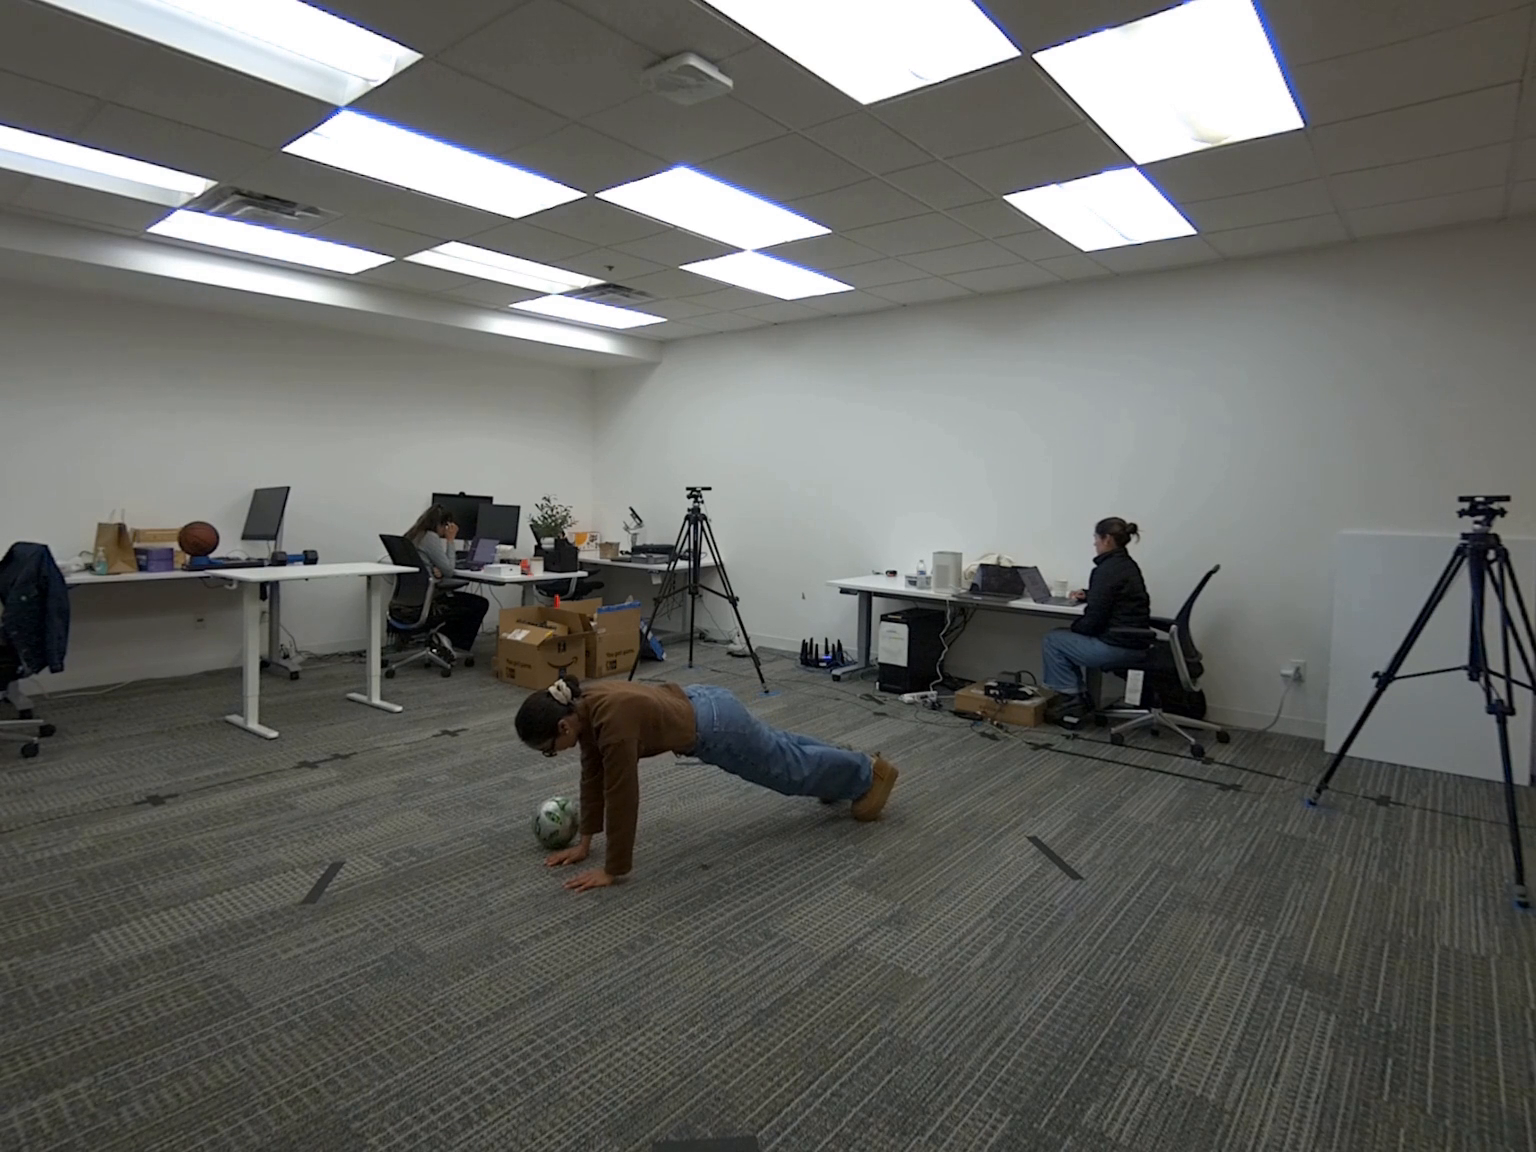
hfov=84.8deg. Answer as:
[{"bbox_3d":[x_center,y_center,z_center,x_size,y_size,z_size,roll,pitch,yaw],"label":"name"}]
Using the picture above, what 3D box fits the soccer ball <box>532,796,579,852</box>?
[{"bbox_3d":[-0.829,0.946,3.289,0.187,0.187,0.188,1,4,-2],"label":"soccer ball"}]
